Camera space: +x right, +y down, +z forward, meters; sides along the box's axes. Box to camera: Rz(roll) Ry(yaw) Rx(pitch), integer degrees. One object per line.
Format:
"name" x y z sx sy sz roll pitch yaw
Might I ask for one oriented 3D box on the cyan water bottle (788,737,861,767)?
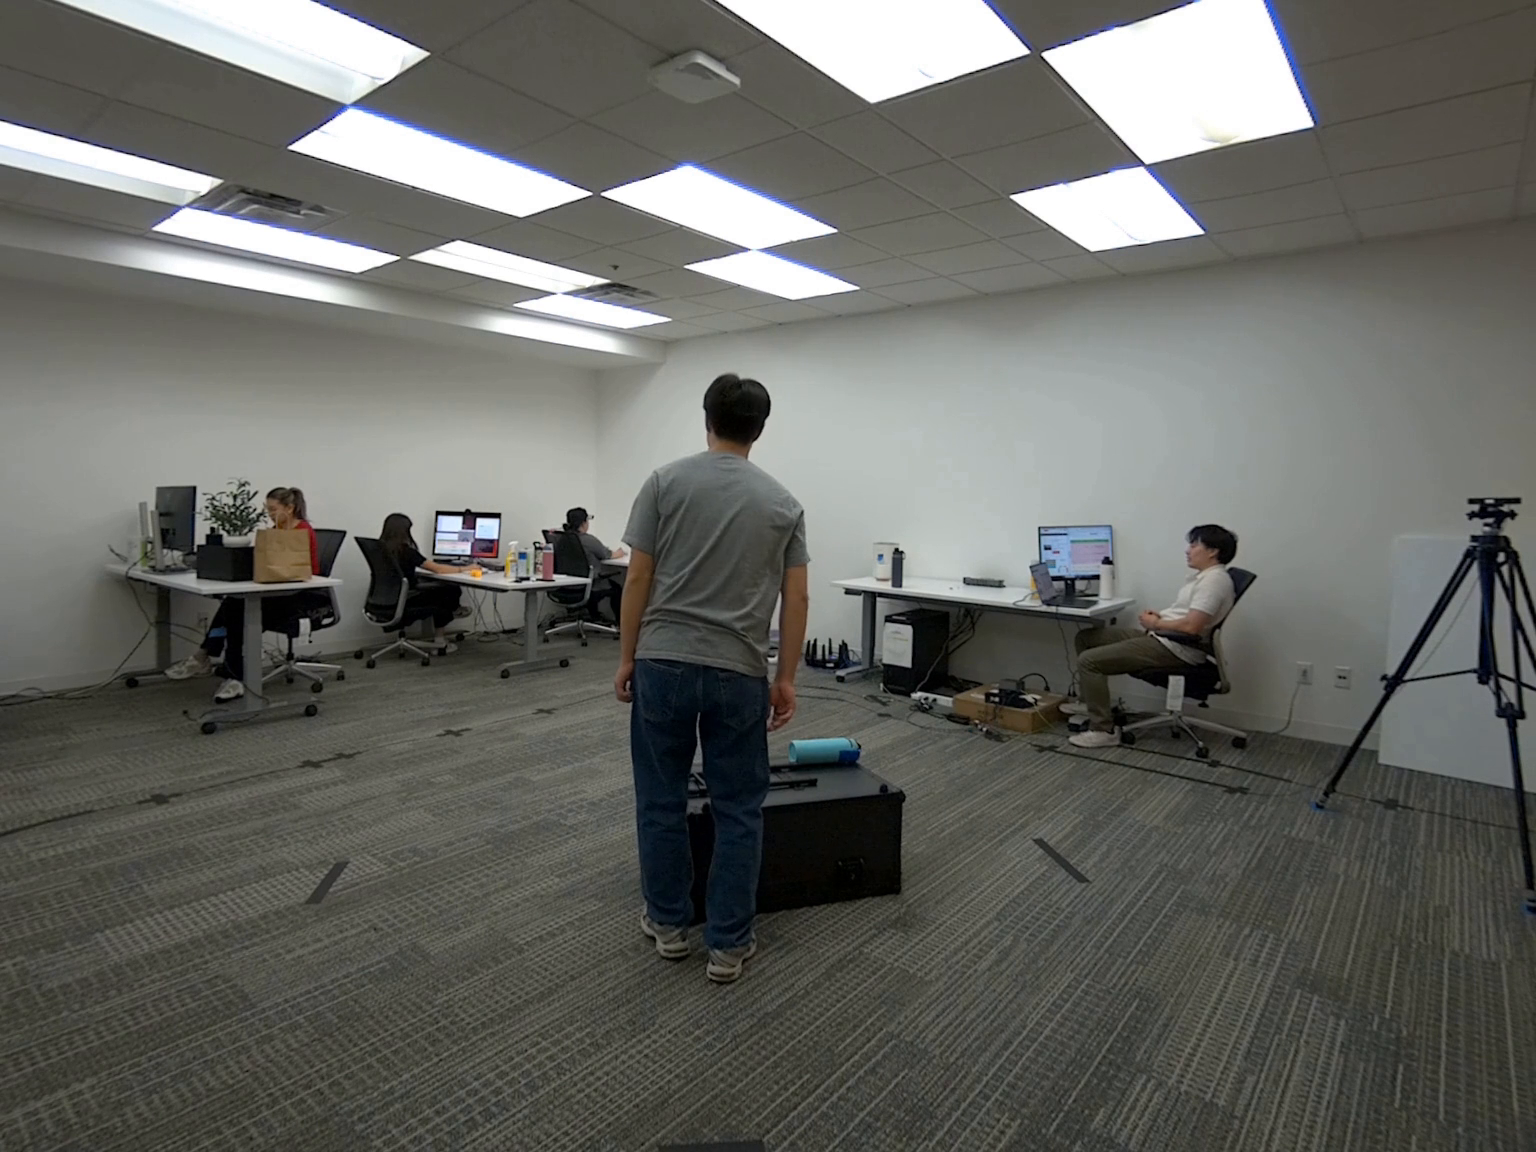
"cyan water bottle" 0.213 0.658 3.222 0.278 0.092 0.094 0 4 -17
